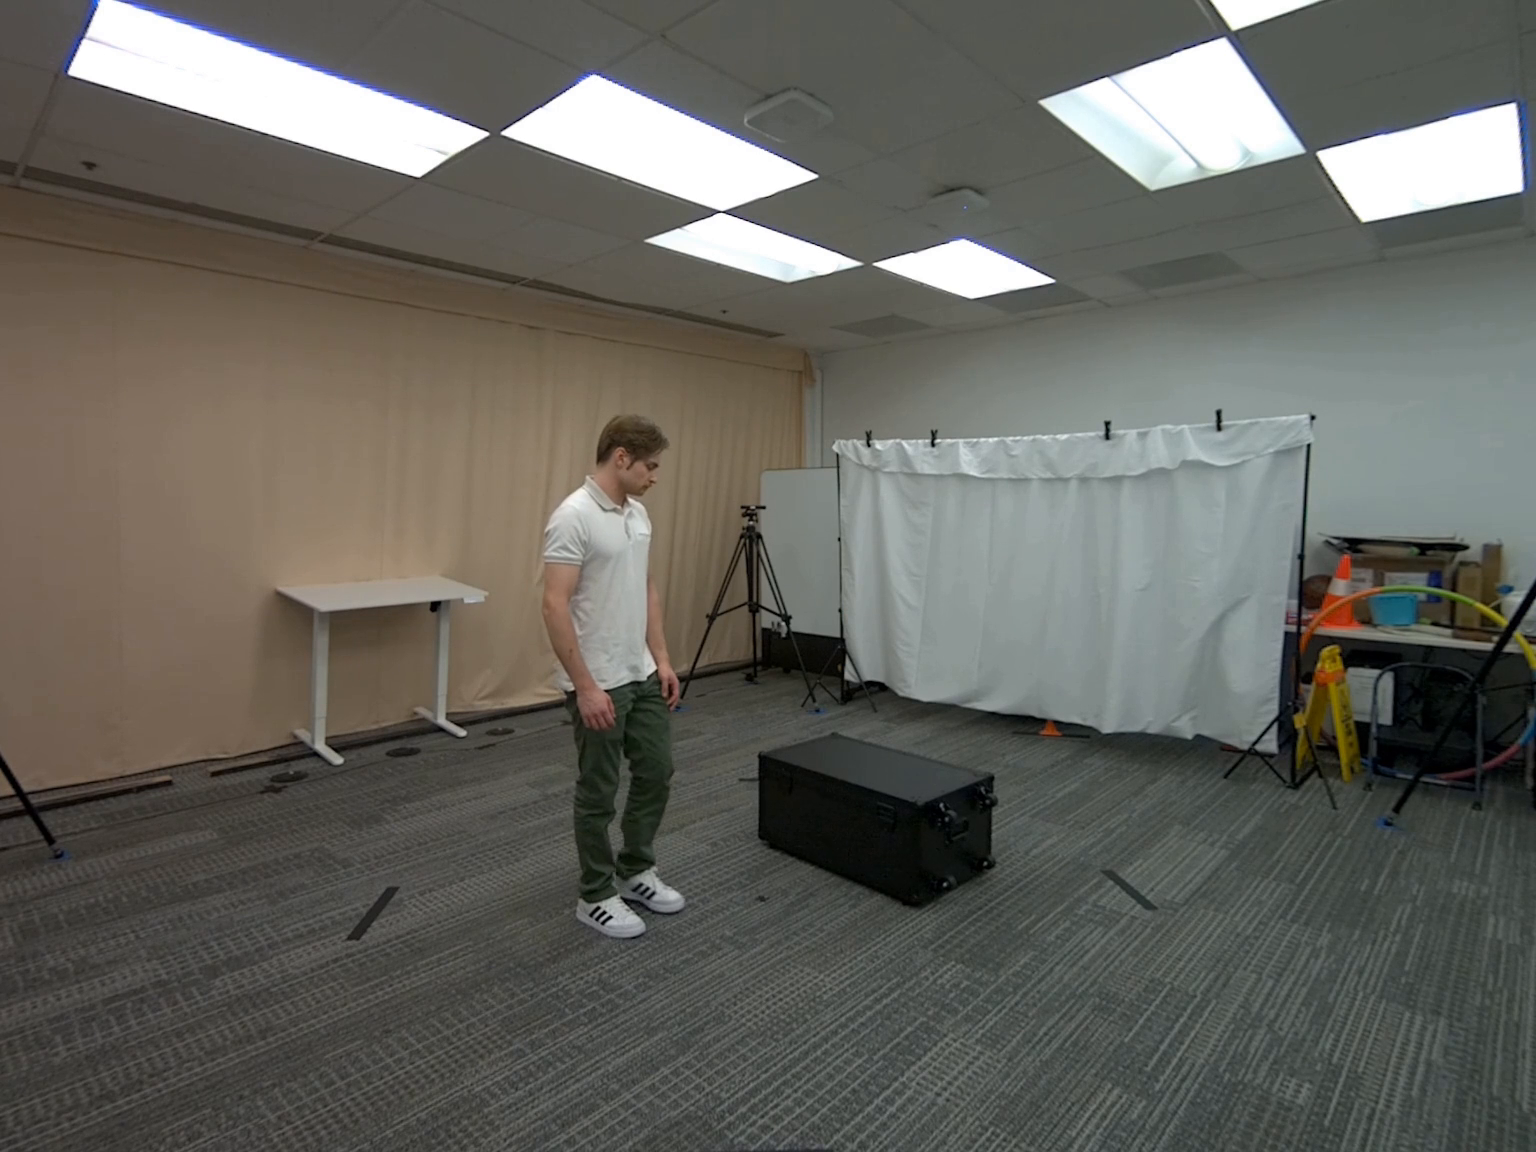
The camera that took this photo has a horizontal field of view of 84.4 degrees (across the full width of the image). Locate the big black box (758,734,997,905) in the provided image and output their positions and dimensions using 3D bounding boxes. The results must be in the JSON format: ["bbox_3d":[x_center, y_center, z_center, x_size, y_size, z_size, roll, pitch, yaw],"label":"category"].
[{"bbox_3d":[0.429,0.925,3.296,0.505,0.395,0.890,-4,6,-45],"label":"big black box"}]
